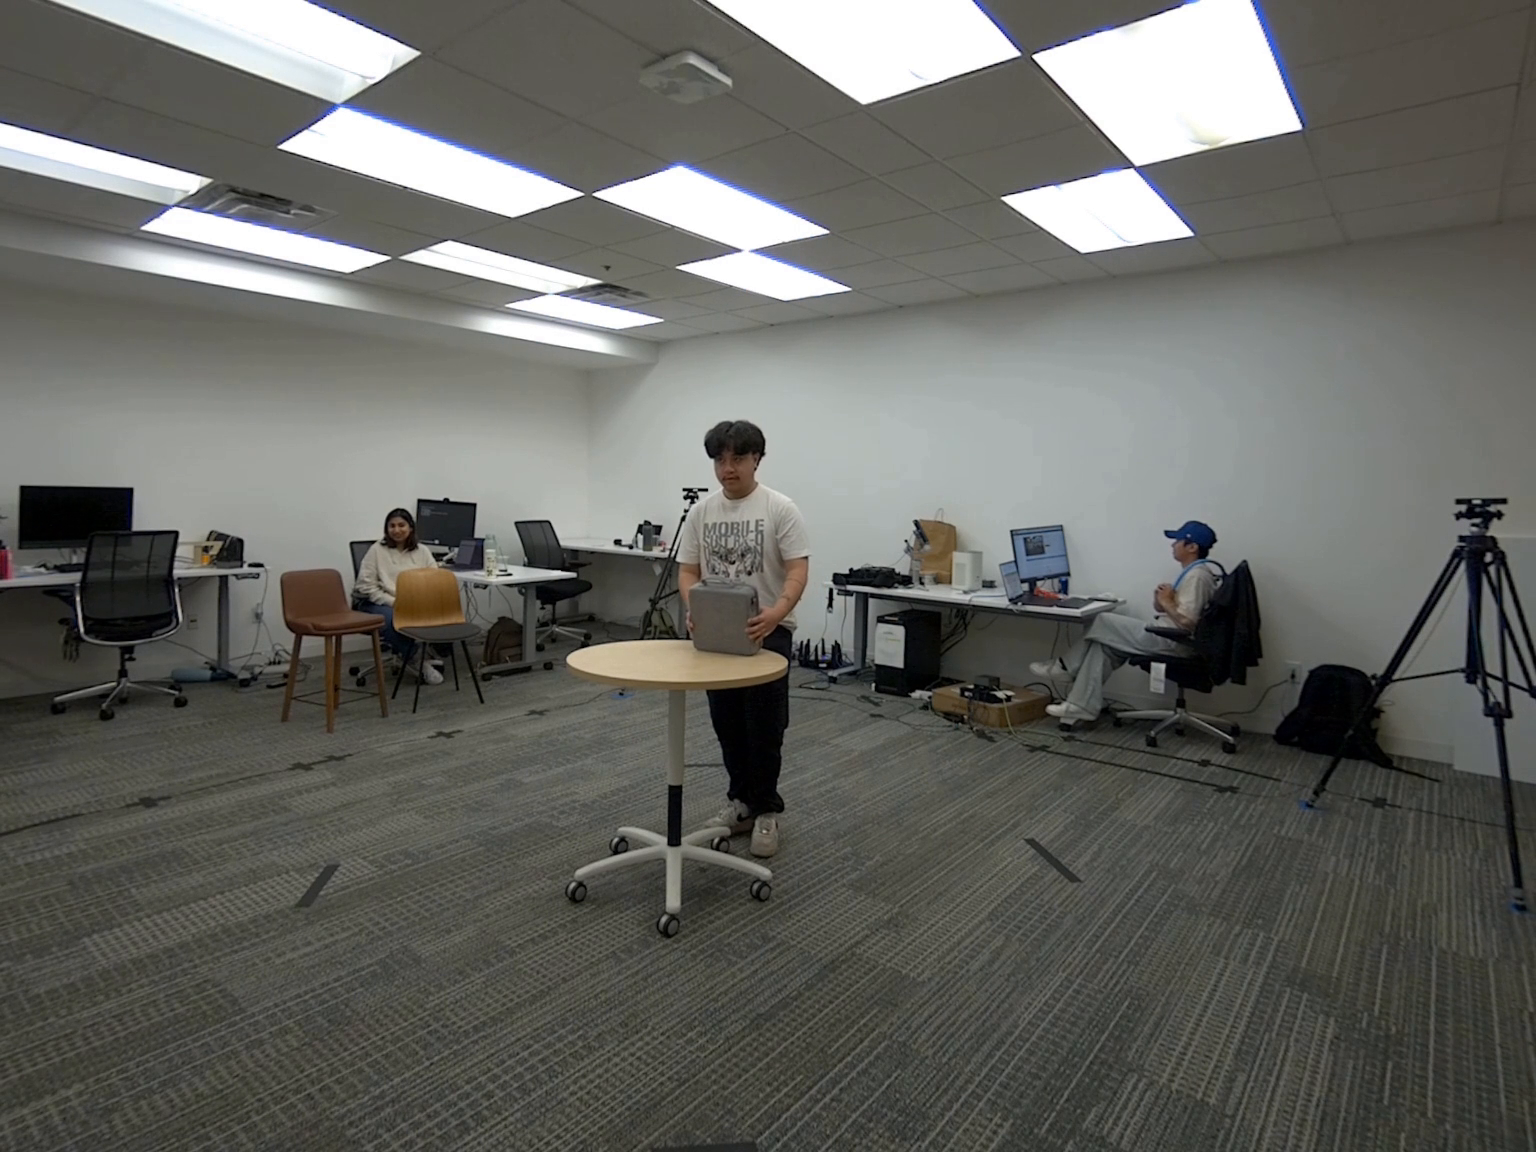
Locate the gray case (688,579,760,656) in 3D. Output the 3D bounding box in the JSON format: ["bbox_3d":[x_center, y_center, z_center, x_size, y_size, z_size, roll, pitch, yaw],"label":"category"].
[{"bbox_3d":[-0.174,0.142,3.080,0.264,0.257,0.103,2,17,28],"label":"gray case"}]
